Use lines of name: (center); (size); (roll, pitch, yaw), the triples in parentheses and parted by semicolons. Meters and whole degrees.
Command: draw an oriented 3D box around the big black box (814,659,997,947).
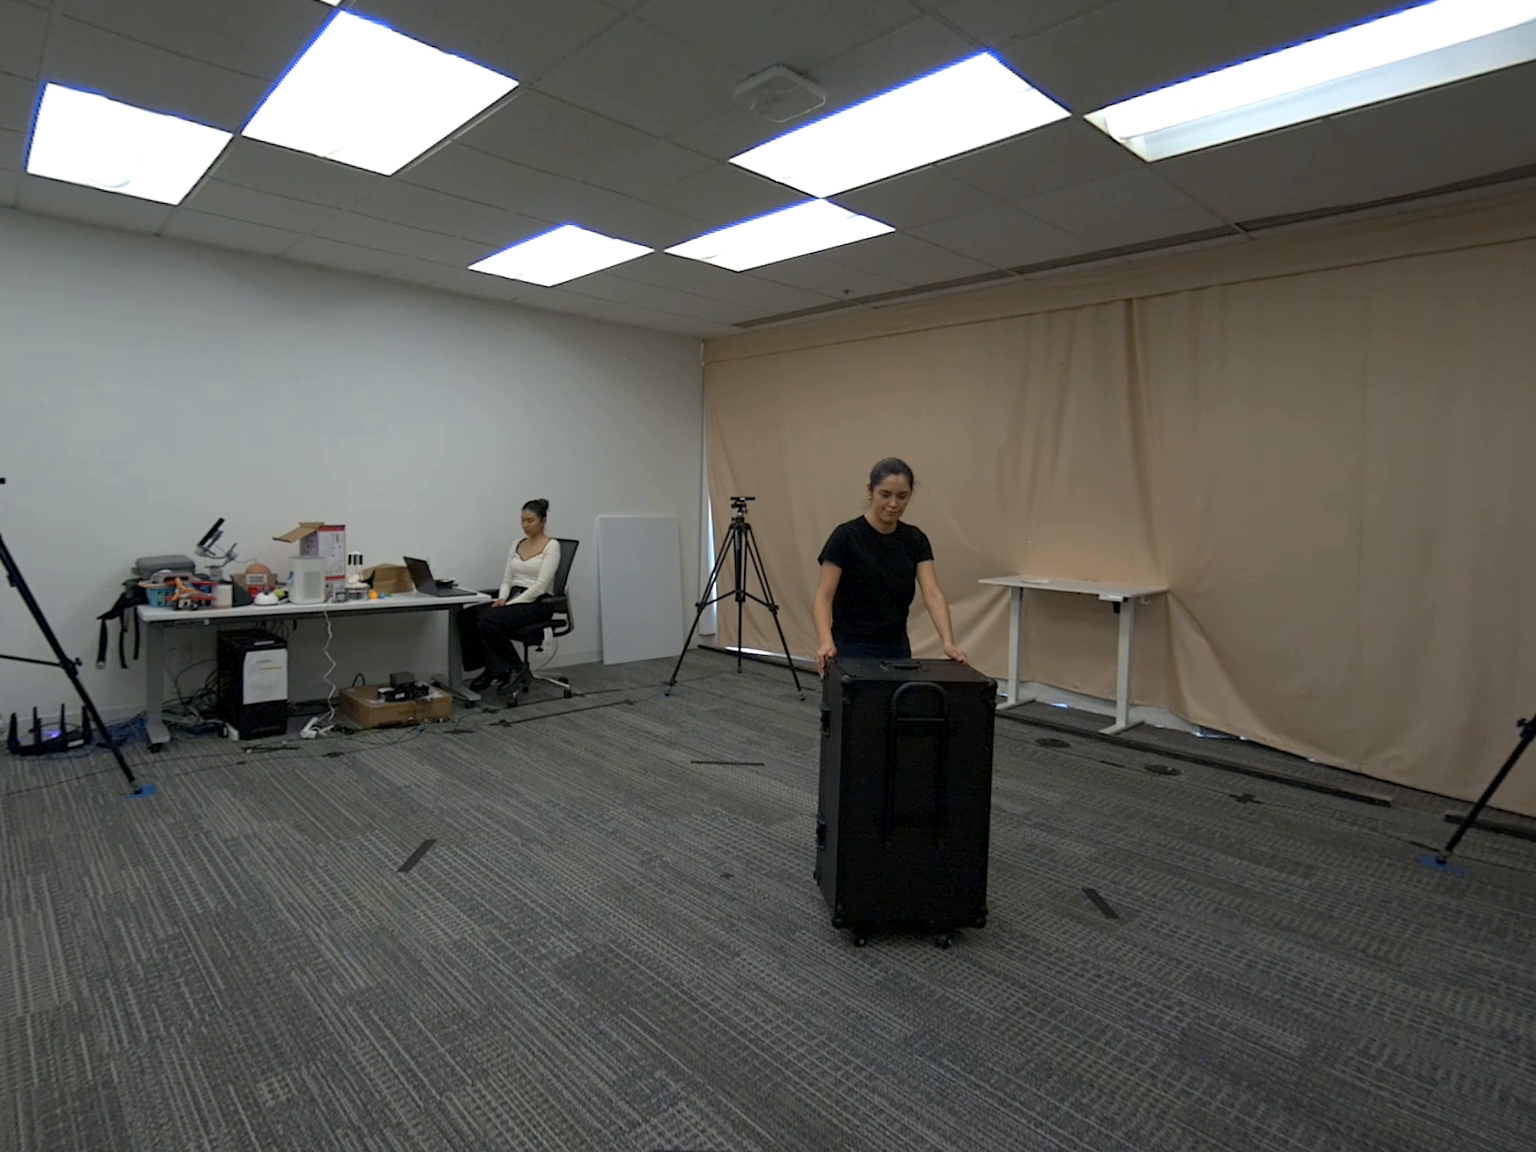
big black box: (0.439, 0.730, 2.746); (0.519, 0.859, 0.399); (1, 4, -5)
